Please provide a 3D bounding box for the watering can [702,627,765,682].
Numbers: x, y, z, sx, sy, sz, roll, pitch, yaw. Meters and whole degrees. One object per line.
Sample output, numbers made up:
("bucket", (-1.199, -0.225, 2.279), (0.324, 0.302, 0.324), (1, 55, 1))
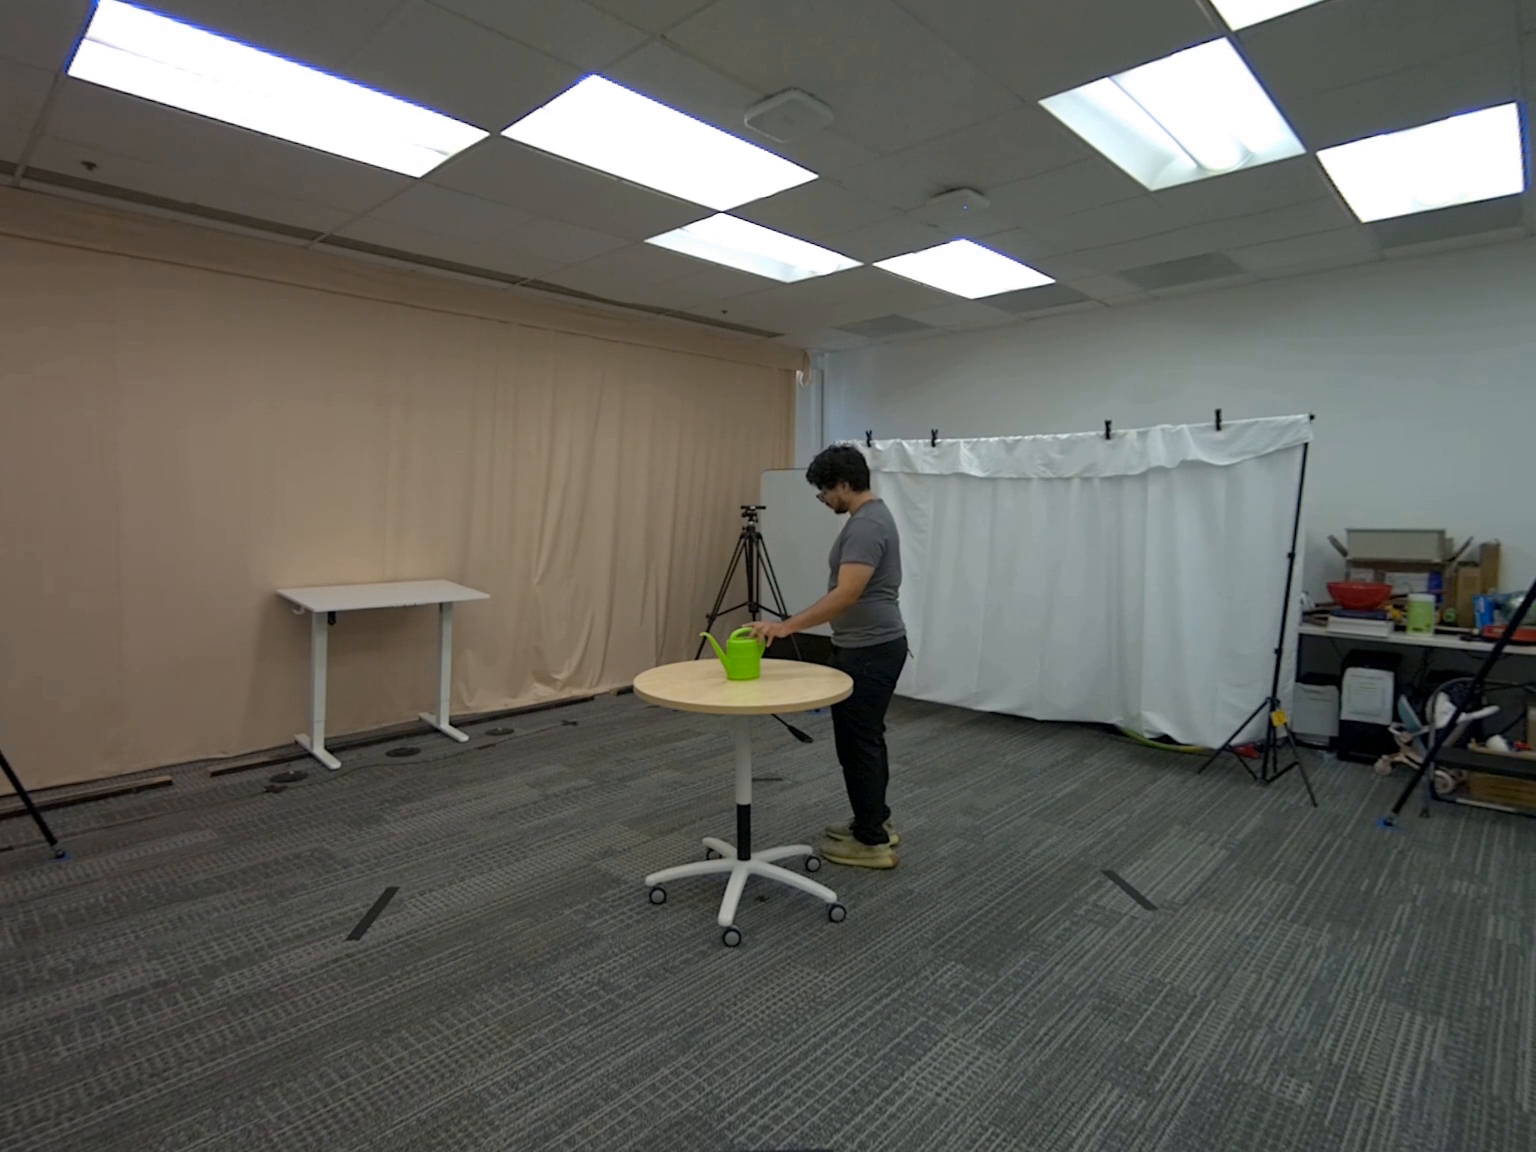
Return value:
("watering can", (-0.126, 0.276, 2.960), (0.272, 0.176, 0.100), (-1, 4, -21))
